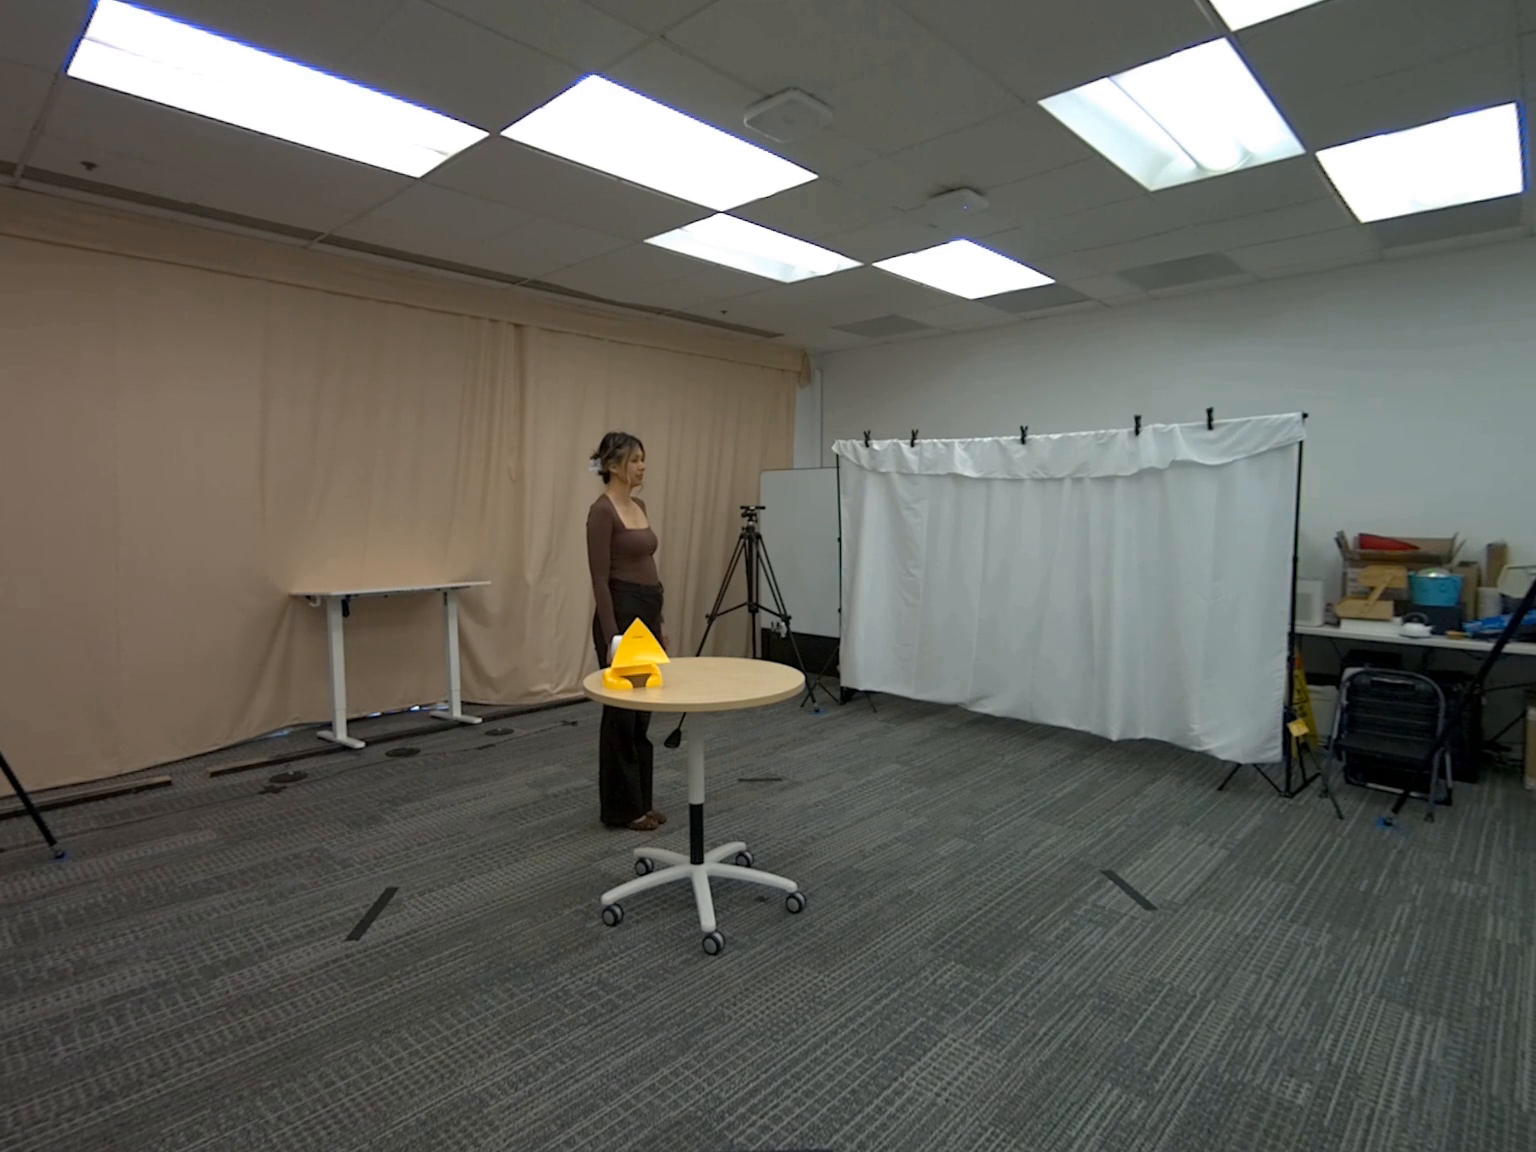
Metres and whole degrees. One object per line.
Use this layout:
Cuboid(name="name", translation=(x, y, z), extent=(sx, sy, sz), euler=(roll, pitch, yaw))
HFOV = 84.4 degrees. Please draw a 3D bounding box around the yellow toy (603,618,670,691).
Cuboid(name="yellow toy", translation=(-0.458, 0.254, 2.831), extent=(0.200, 0.230, 0.198), euler=(-3, 4, -26))
